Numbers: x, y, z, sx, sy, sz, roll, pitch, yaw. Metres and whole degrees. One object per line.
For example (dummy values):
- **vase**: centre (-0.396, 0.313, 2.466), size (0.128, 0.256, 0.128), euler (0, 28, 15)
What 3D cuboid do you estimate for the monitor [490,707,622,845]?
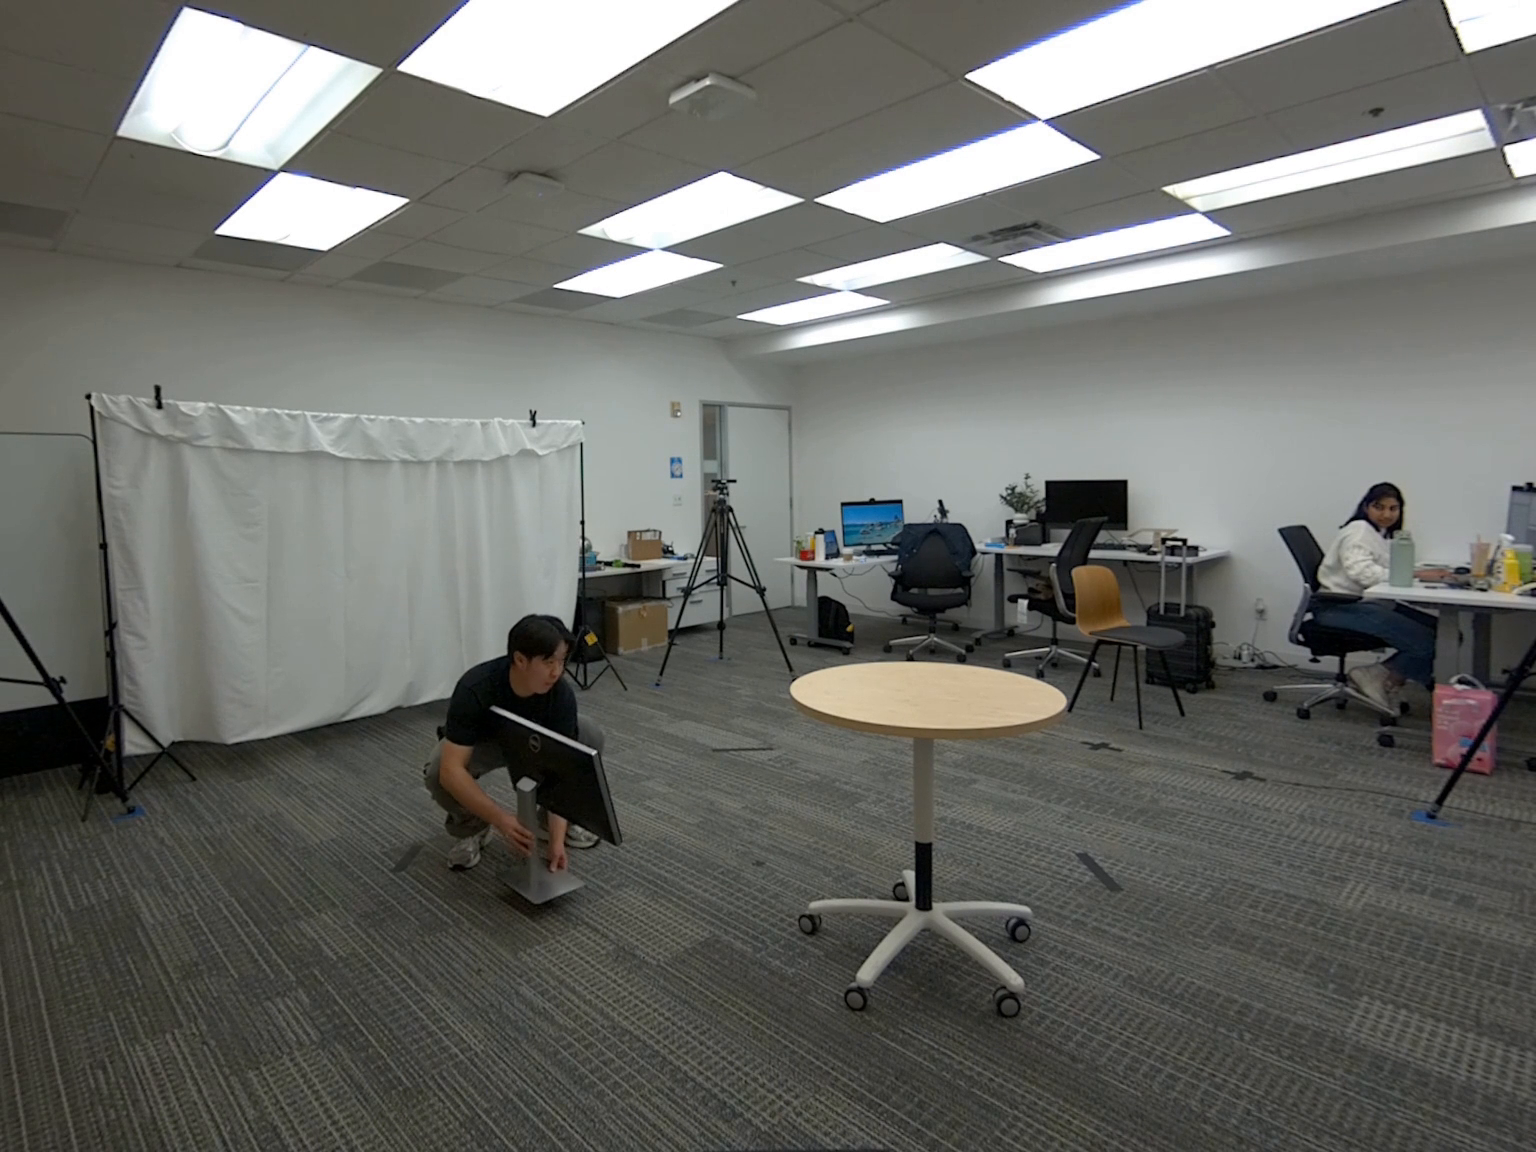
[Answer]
- **monitor**: centre (-0.743, 0.756, 2.847), size (0.581, 0.562, 0.216), euler (11, 12, 40)
